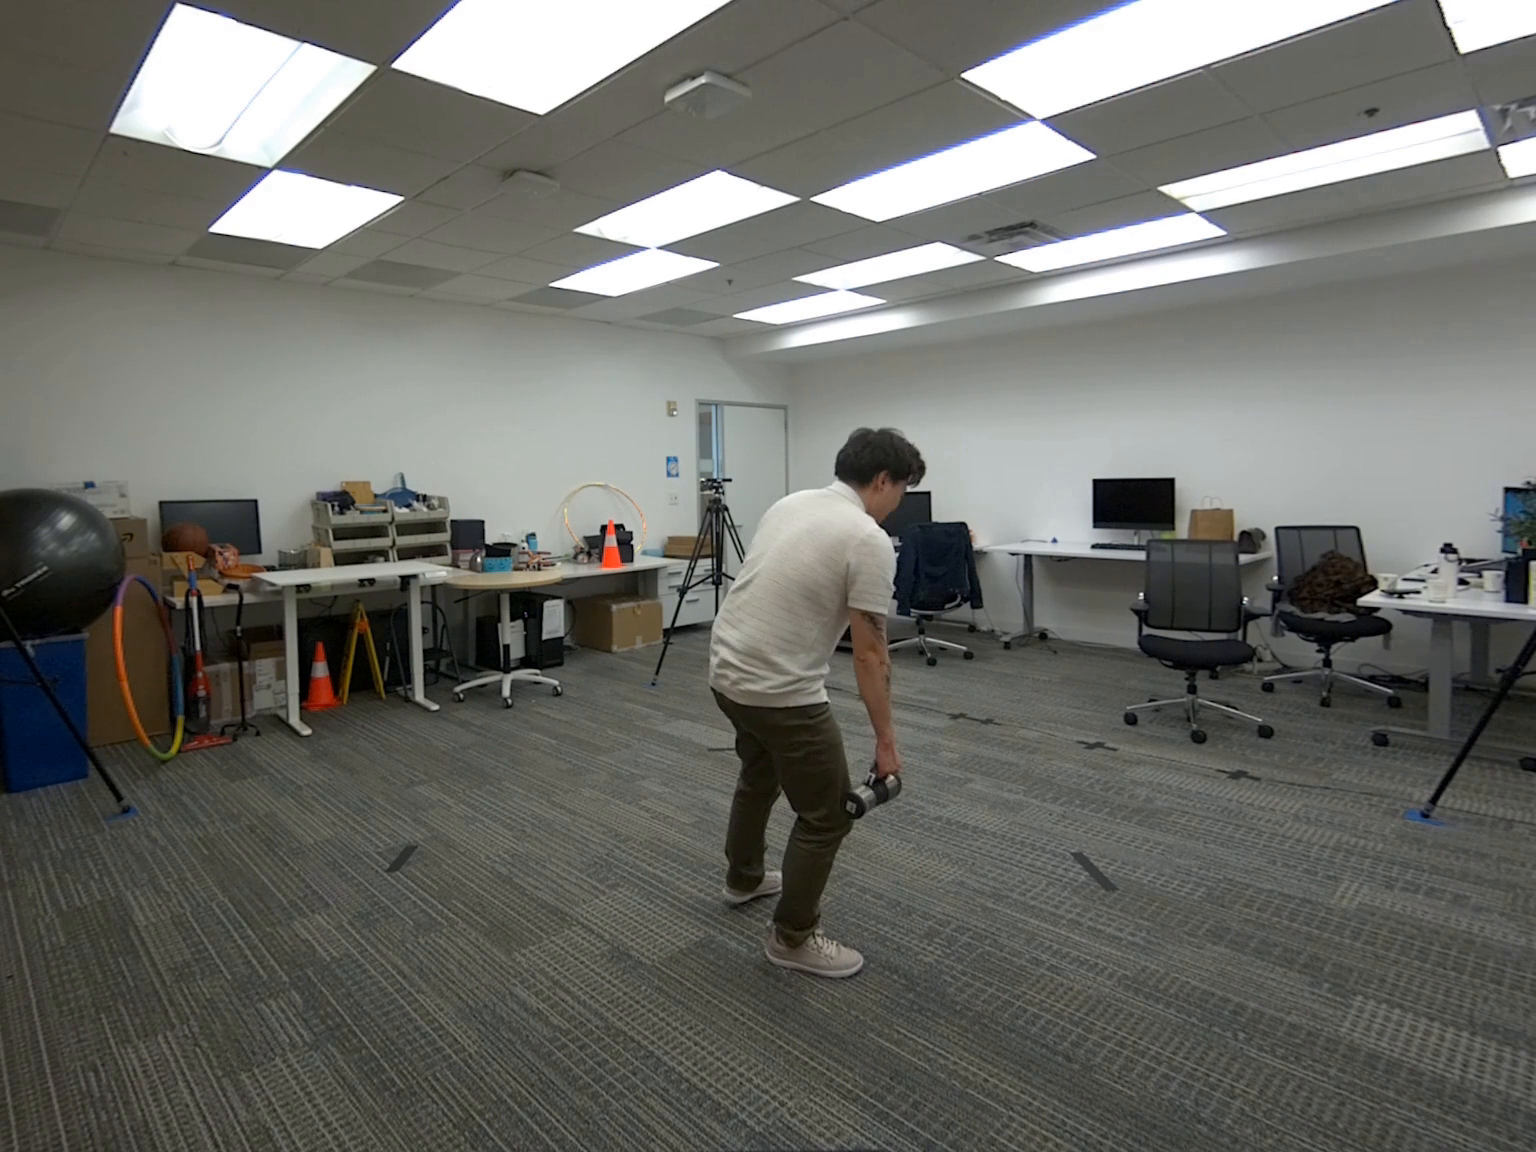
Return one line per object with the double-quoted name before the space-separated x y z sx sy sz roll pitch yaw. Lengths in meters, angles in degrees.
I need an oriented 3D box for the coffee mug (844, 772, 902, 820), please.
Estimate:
"coffee mug" 0.281 0.566 2.296 0.091 0.121 0.198 12 12 39
